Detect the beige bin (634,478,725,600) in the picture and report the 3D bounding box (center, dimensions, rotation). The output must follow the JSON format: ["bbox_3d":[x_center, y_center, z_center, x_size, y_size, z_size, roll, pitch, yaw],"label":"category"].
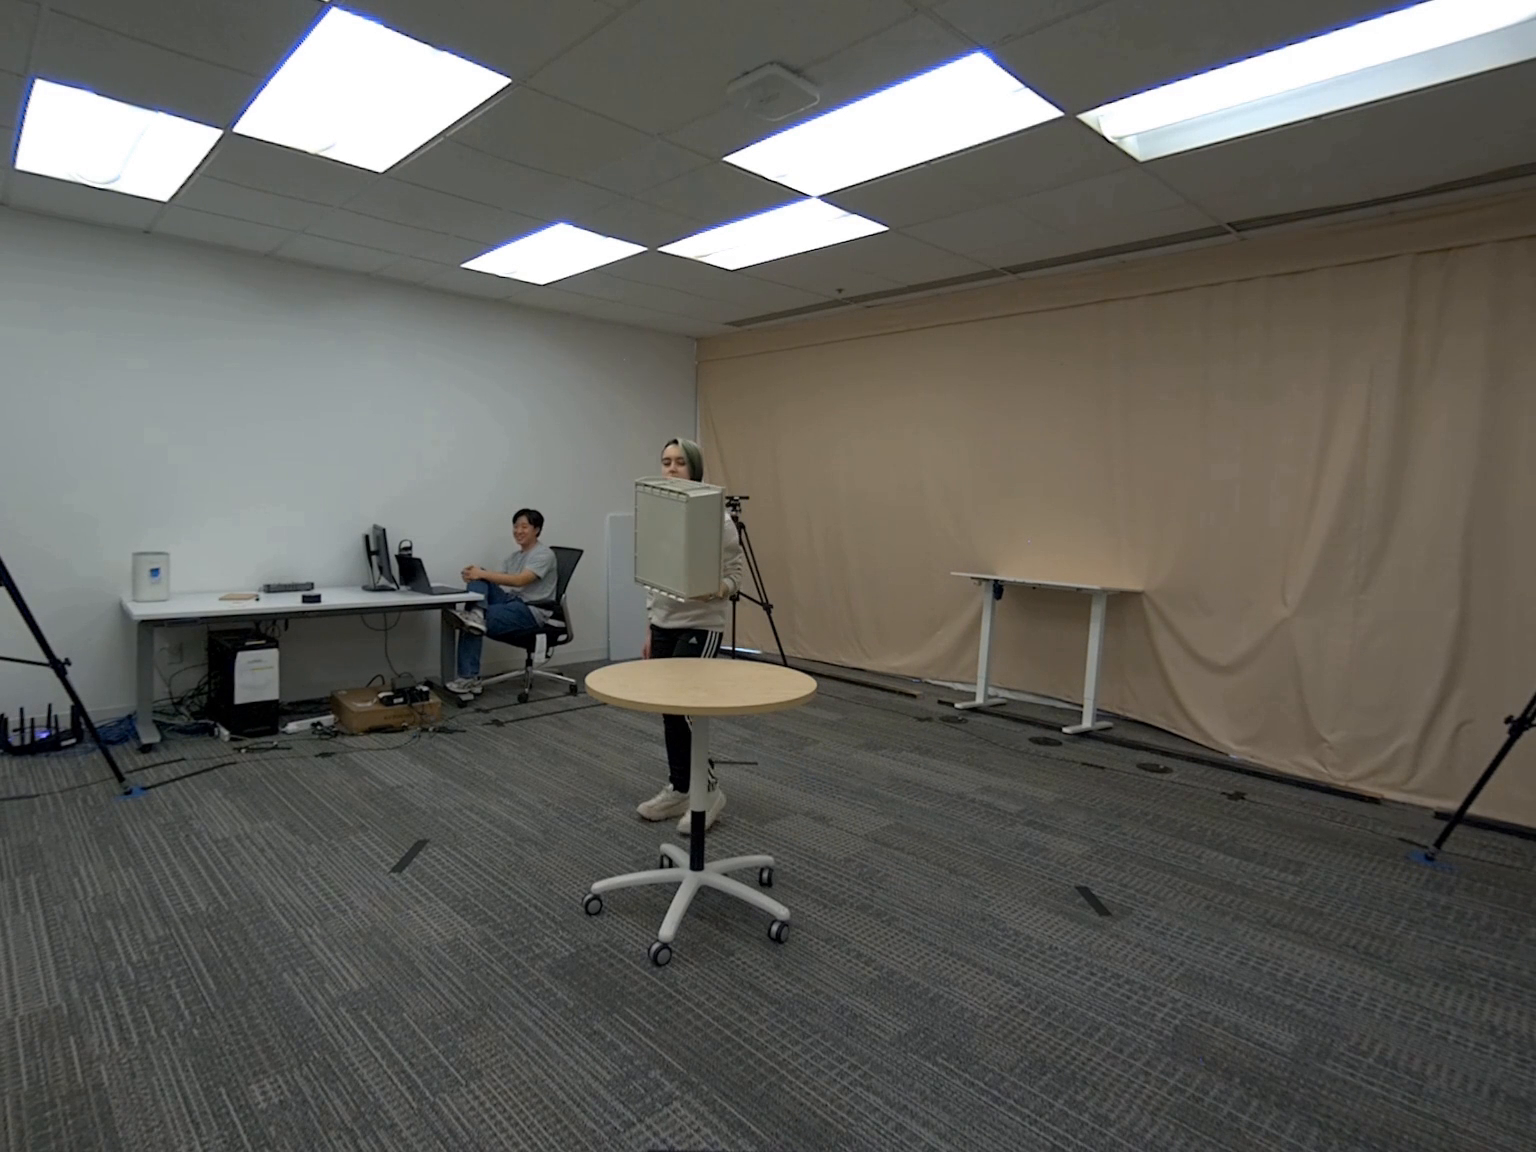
[{"bbox_3d":[-0.368,-0.154,3.240,0.185,0.418,0.388,-9,18,-42],"label":"beige bin"}]
